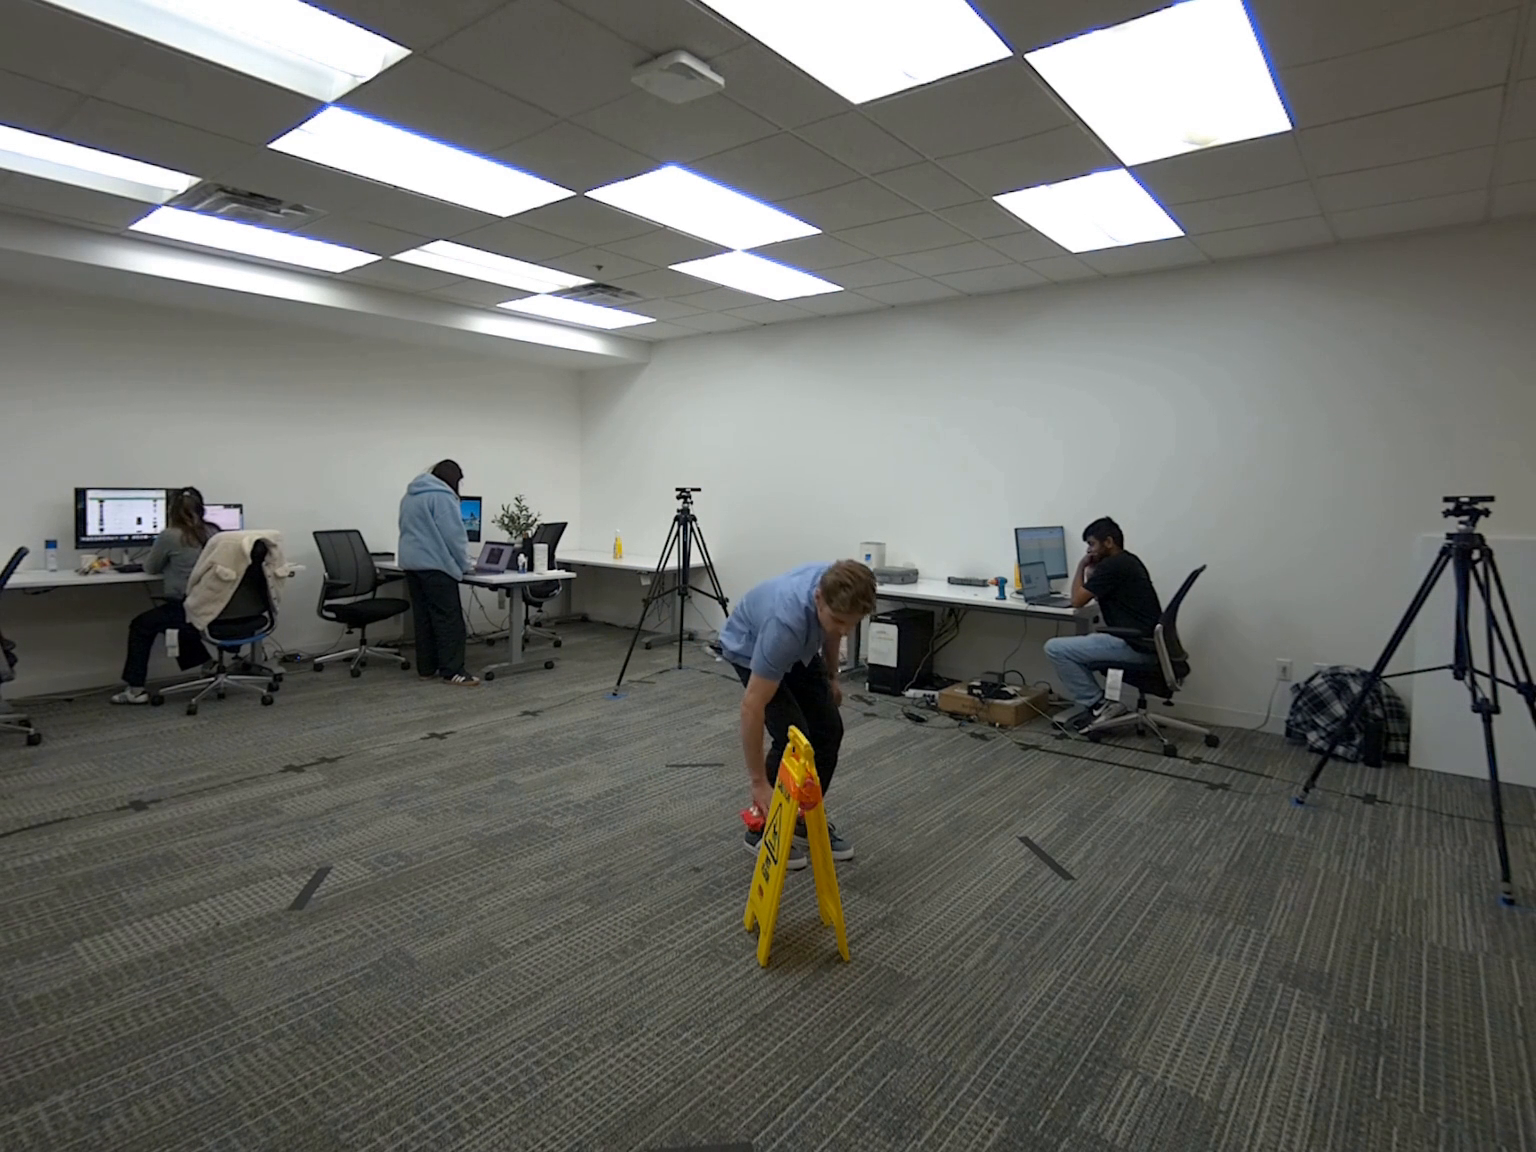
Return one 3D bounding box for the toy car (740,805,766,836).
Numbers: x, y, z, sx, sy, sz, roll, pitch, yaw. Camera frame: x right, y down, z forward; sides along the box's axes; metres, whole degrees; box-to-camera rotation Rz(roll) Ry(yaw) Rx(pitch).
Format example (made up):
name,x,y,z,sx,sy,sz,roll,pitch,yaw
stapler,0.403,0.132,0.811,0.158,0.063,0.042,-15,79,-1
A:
name,x,y,z,sx,sy,sz,roll,pitch,yaw
toy car,0.010,0.829,2.965,0.249,0.082,0.134,1,15,-22
